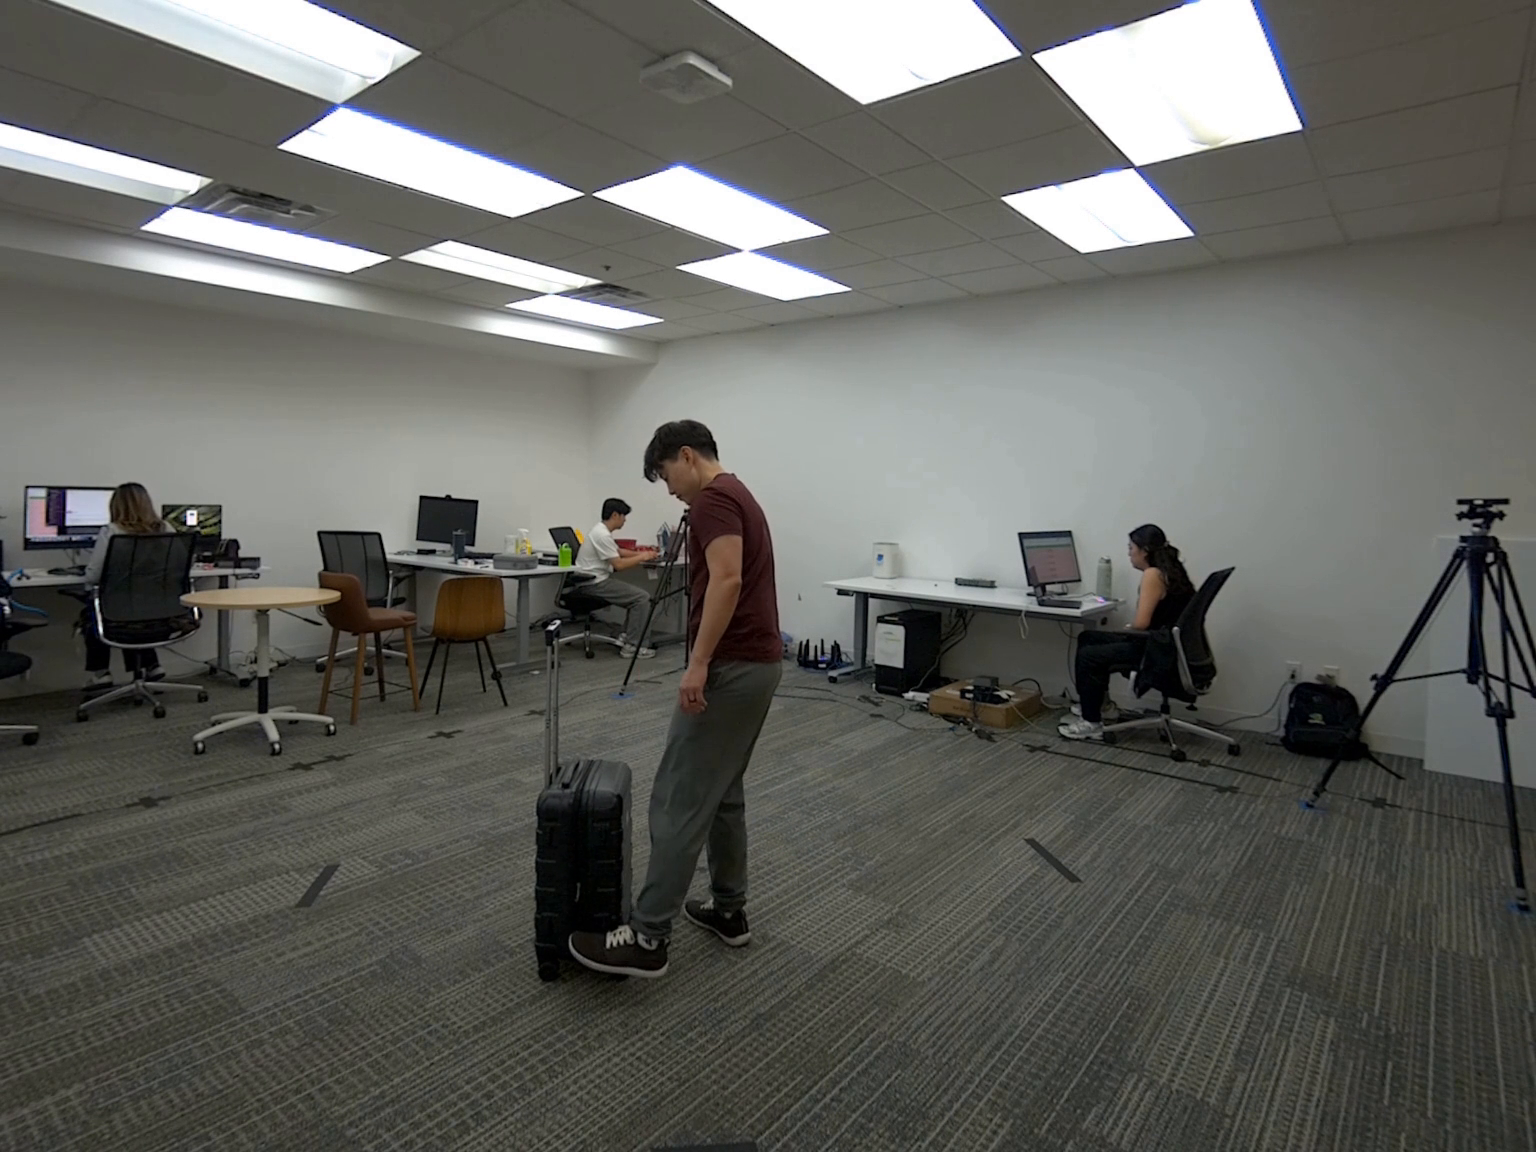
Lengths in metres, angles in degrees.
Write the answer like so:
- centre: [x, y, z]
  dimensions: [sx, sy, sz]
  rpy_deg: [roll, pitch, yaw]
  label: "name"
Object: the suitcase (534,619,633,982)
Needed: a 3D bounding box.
- centre: [-0.555, 0.645, 2.536]
  dimensions: [0.257, 0.976, 0.385]
  rpy_deg: [0, 3, -2]
  label: "suitcase"
